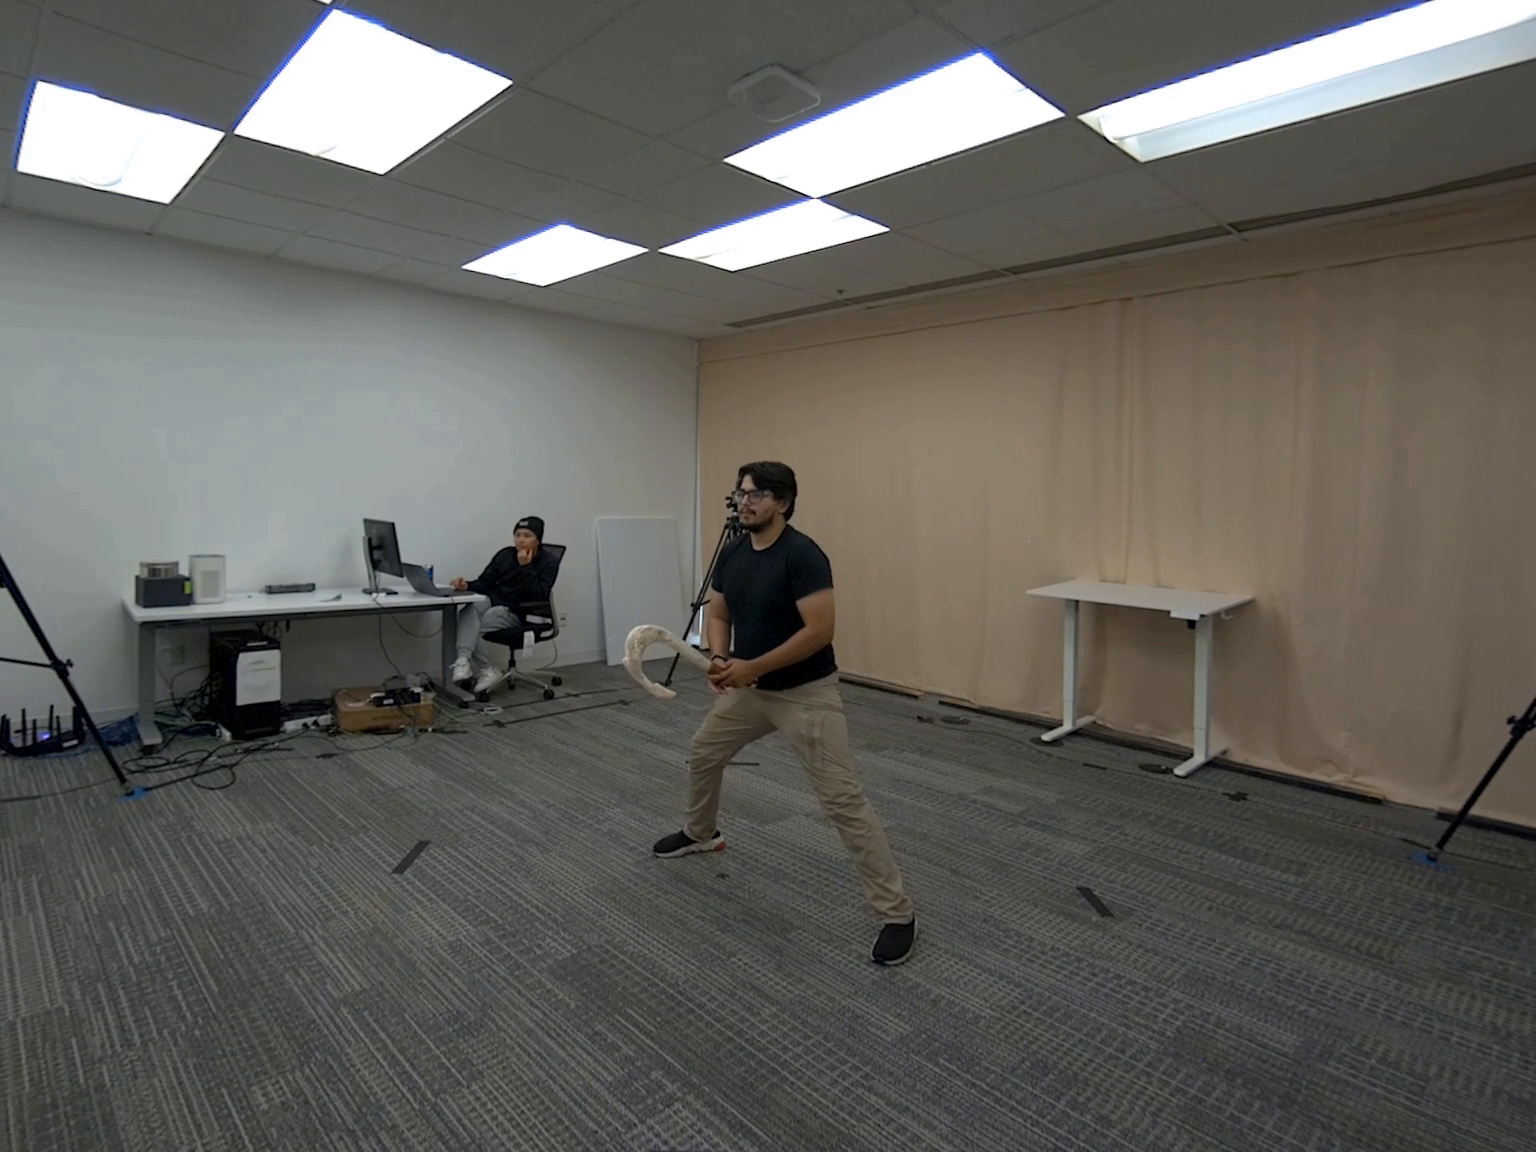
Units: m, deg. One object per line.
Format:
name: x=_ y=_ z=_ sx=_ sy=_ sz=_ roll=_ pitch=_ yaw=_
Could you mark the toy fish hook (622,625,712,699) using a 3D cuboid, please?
toy fish hook: x=-0.255 y=0.328 z=2.726 sx=0.494 sy=0.228 sz=0.049 roll=26 pitch=-31 yaw=-27
